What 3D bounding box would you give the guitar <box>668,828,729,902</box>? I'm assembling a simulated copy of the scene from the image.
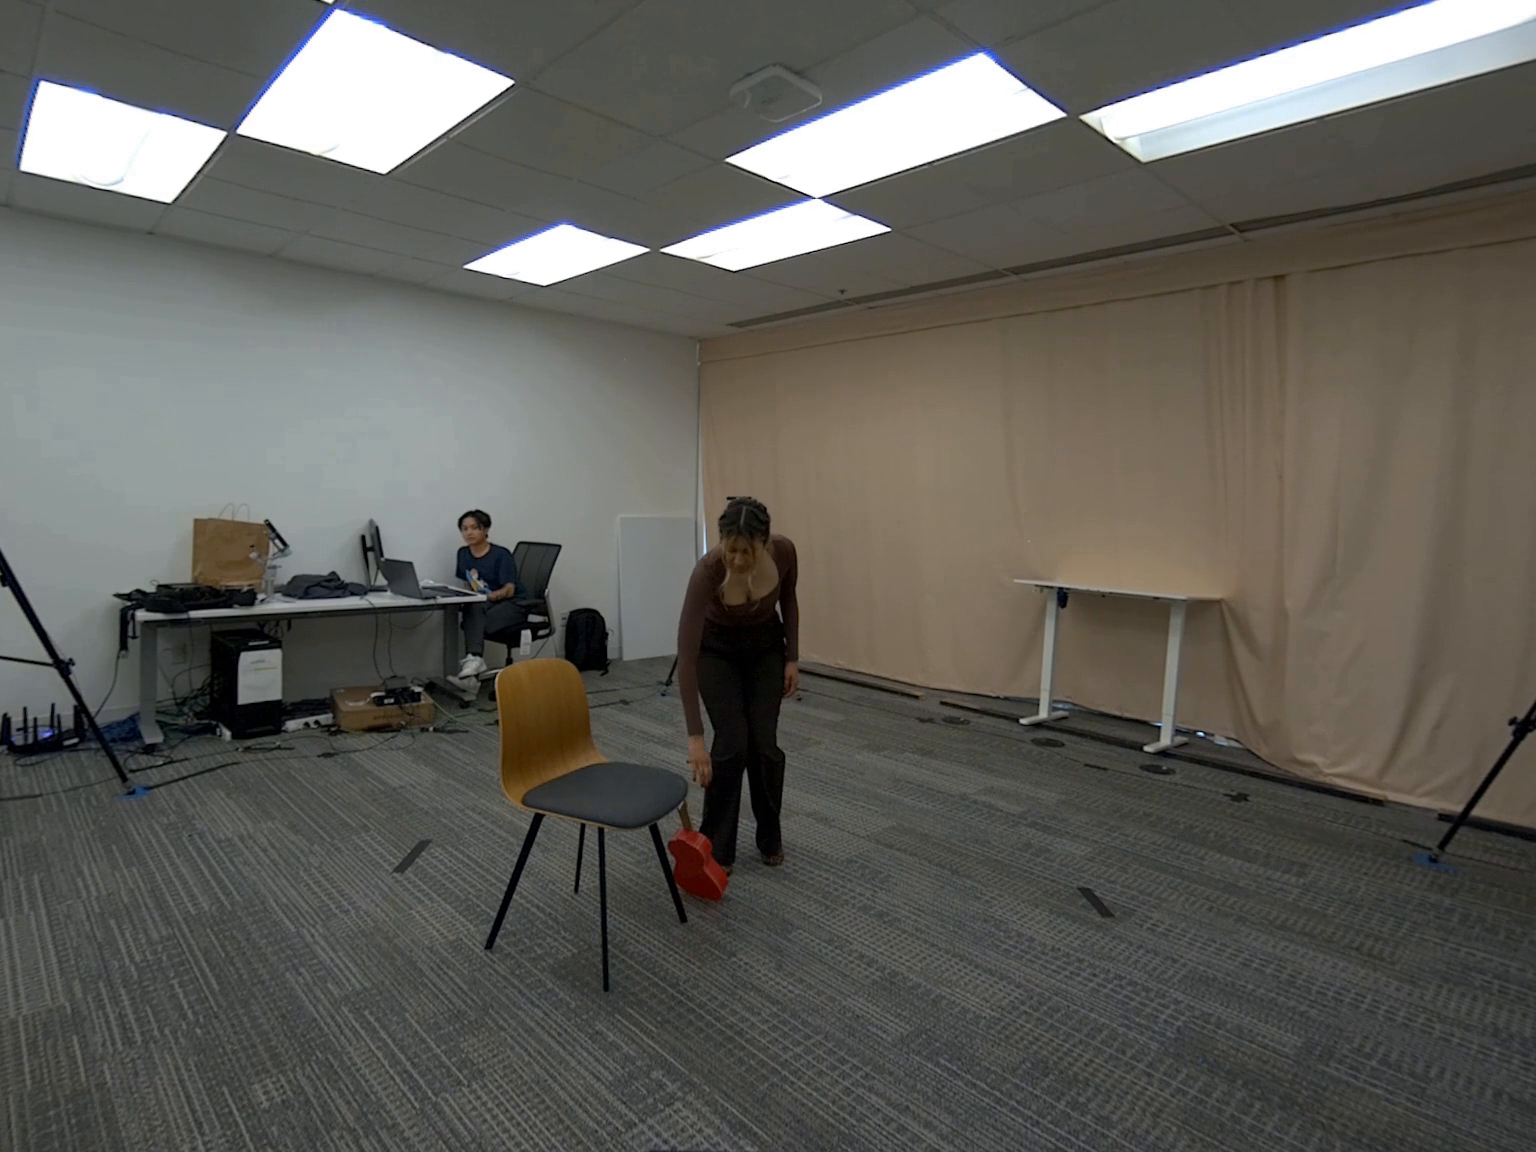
[{"bbox_3d":[-0.295,0.896,2.865,0.197,0.489,0.070,-4,24,34],"label":"guitar"}]
